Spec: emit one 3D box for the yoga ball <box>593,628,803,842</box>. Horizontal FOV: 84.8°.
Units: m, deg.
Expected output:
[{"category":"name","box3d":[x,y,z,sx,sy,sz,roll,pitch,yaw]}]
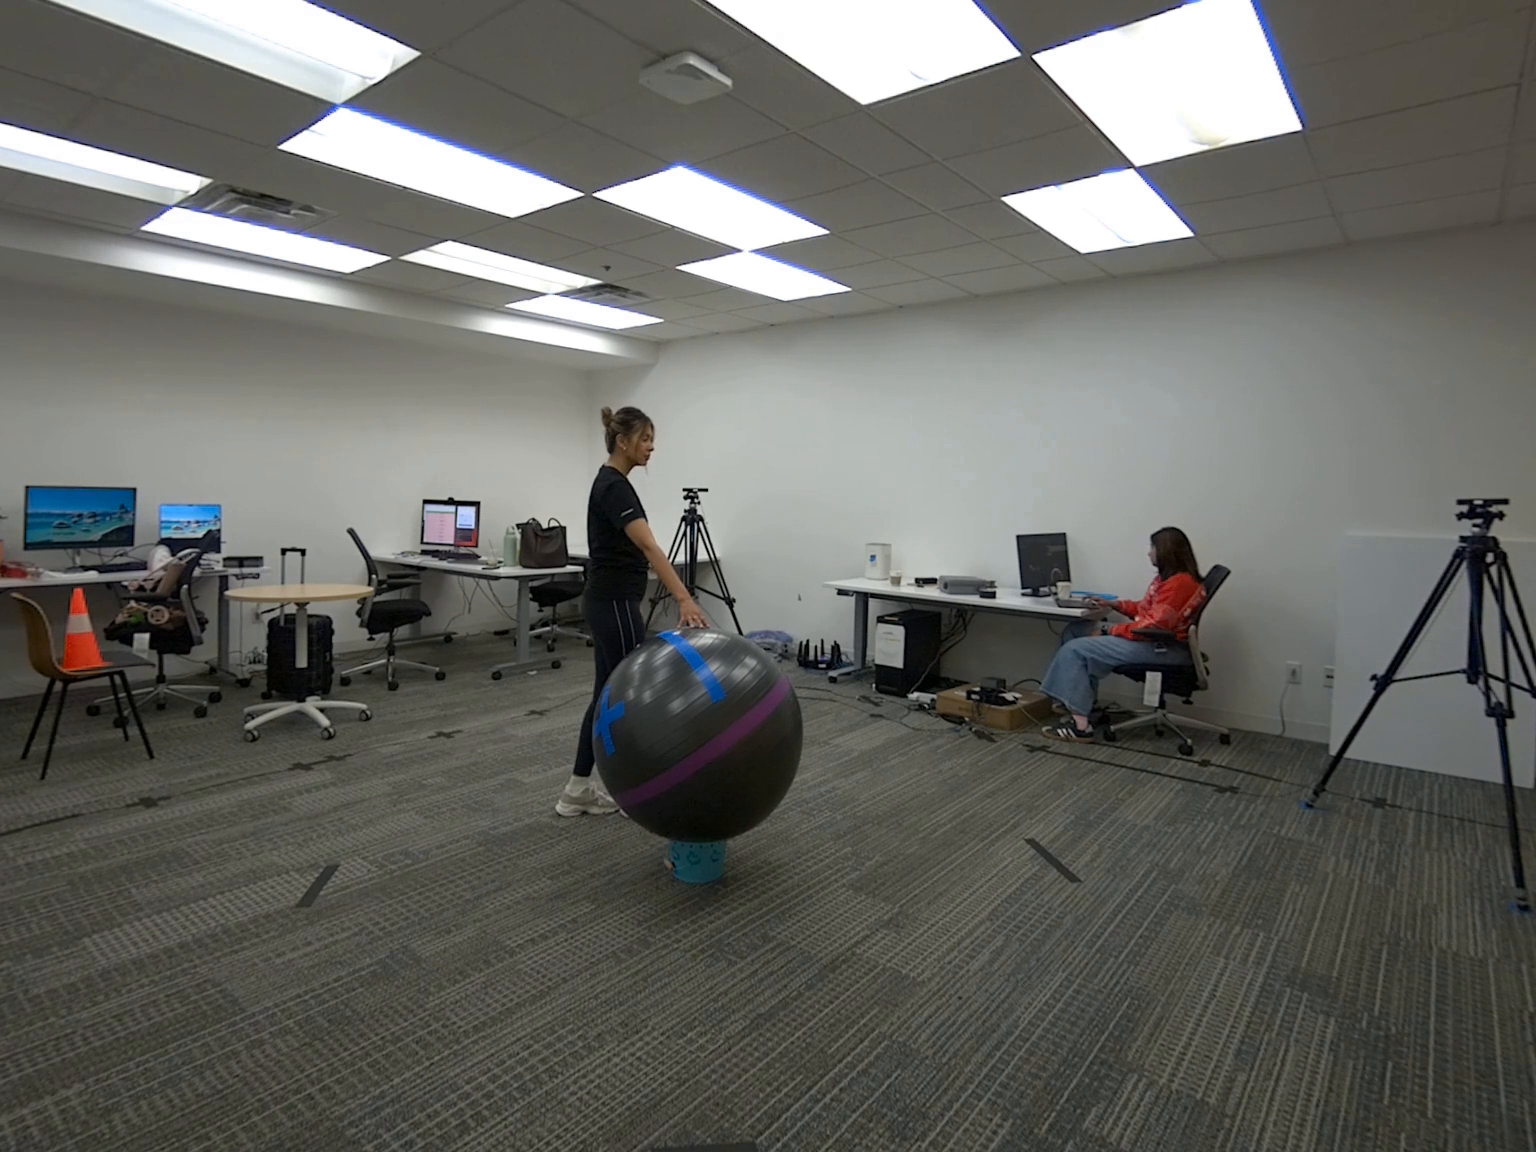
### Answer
[{"category":"yoga ball","box3d":[-0.265,0.567,3.071,0.757,0.755,0.762,1,4,-2]}]
